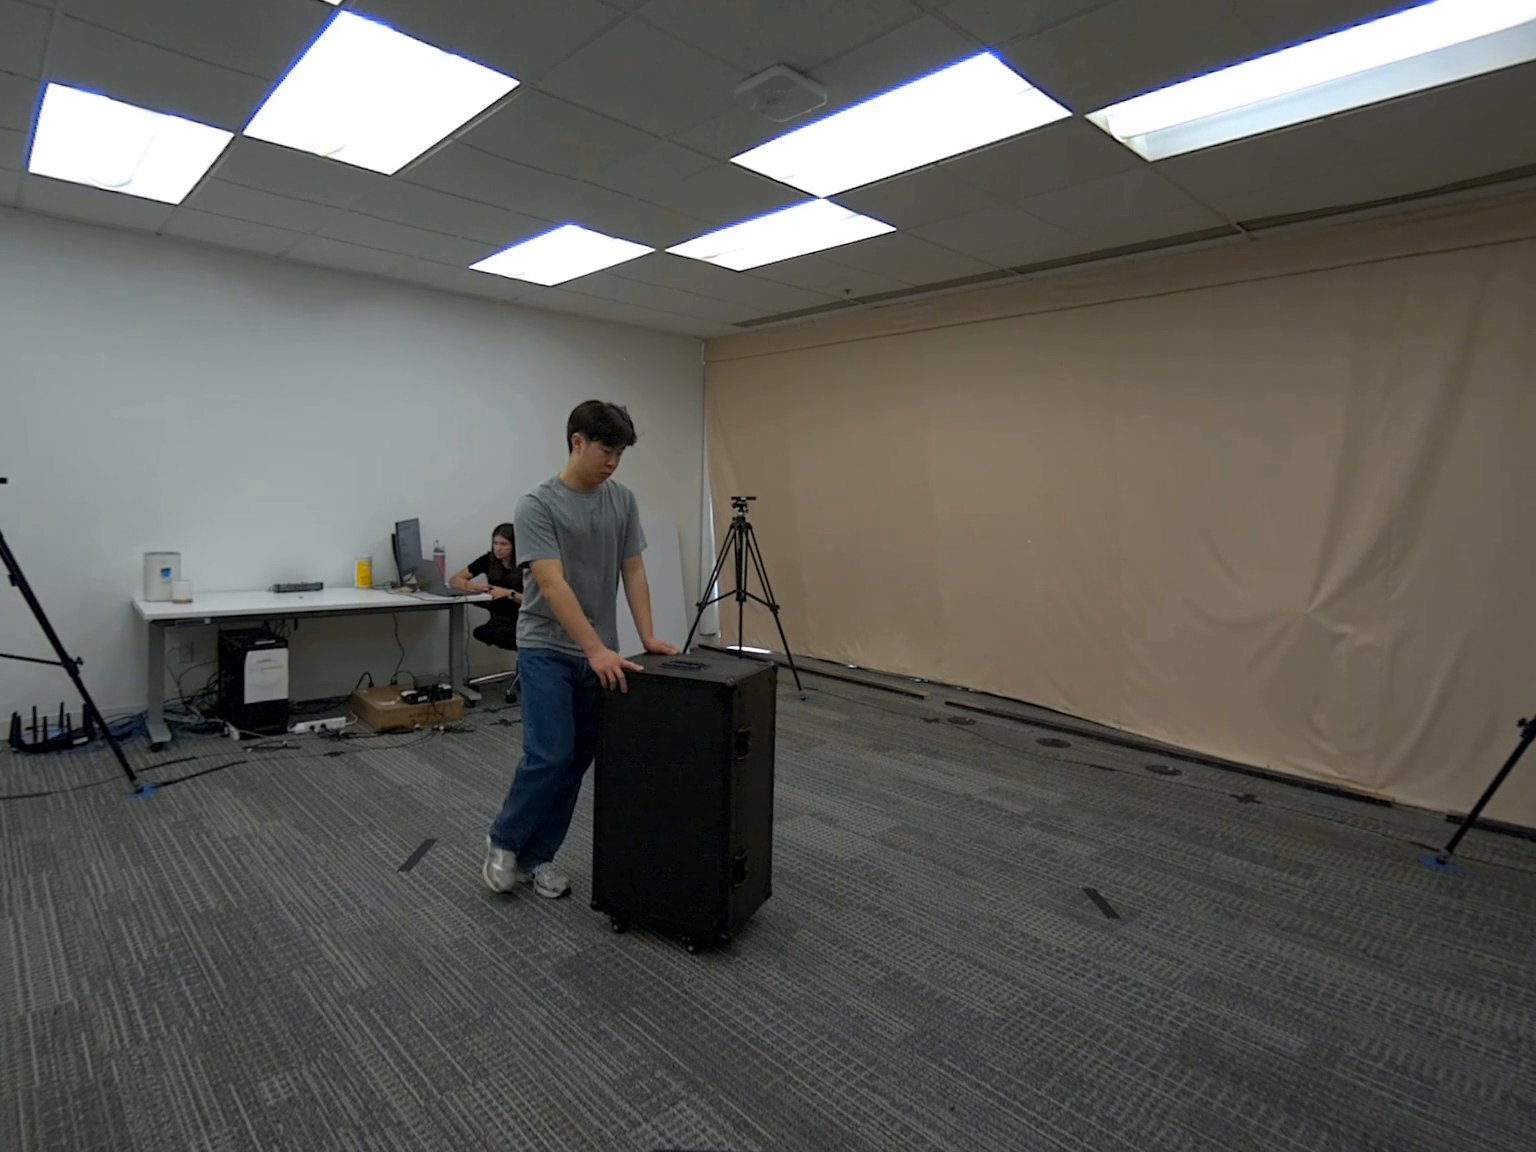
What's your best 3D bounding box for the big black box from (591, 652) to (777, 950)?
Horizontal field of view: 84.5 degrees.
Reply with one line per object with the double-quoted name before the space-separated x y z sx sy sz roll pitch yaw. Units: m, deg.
"big black box" -0.271 0.714 2.735 0.531 0.860 0.389 3 2 24
